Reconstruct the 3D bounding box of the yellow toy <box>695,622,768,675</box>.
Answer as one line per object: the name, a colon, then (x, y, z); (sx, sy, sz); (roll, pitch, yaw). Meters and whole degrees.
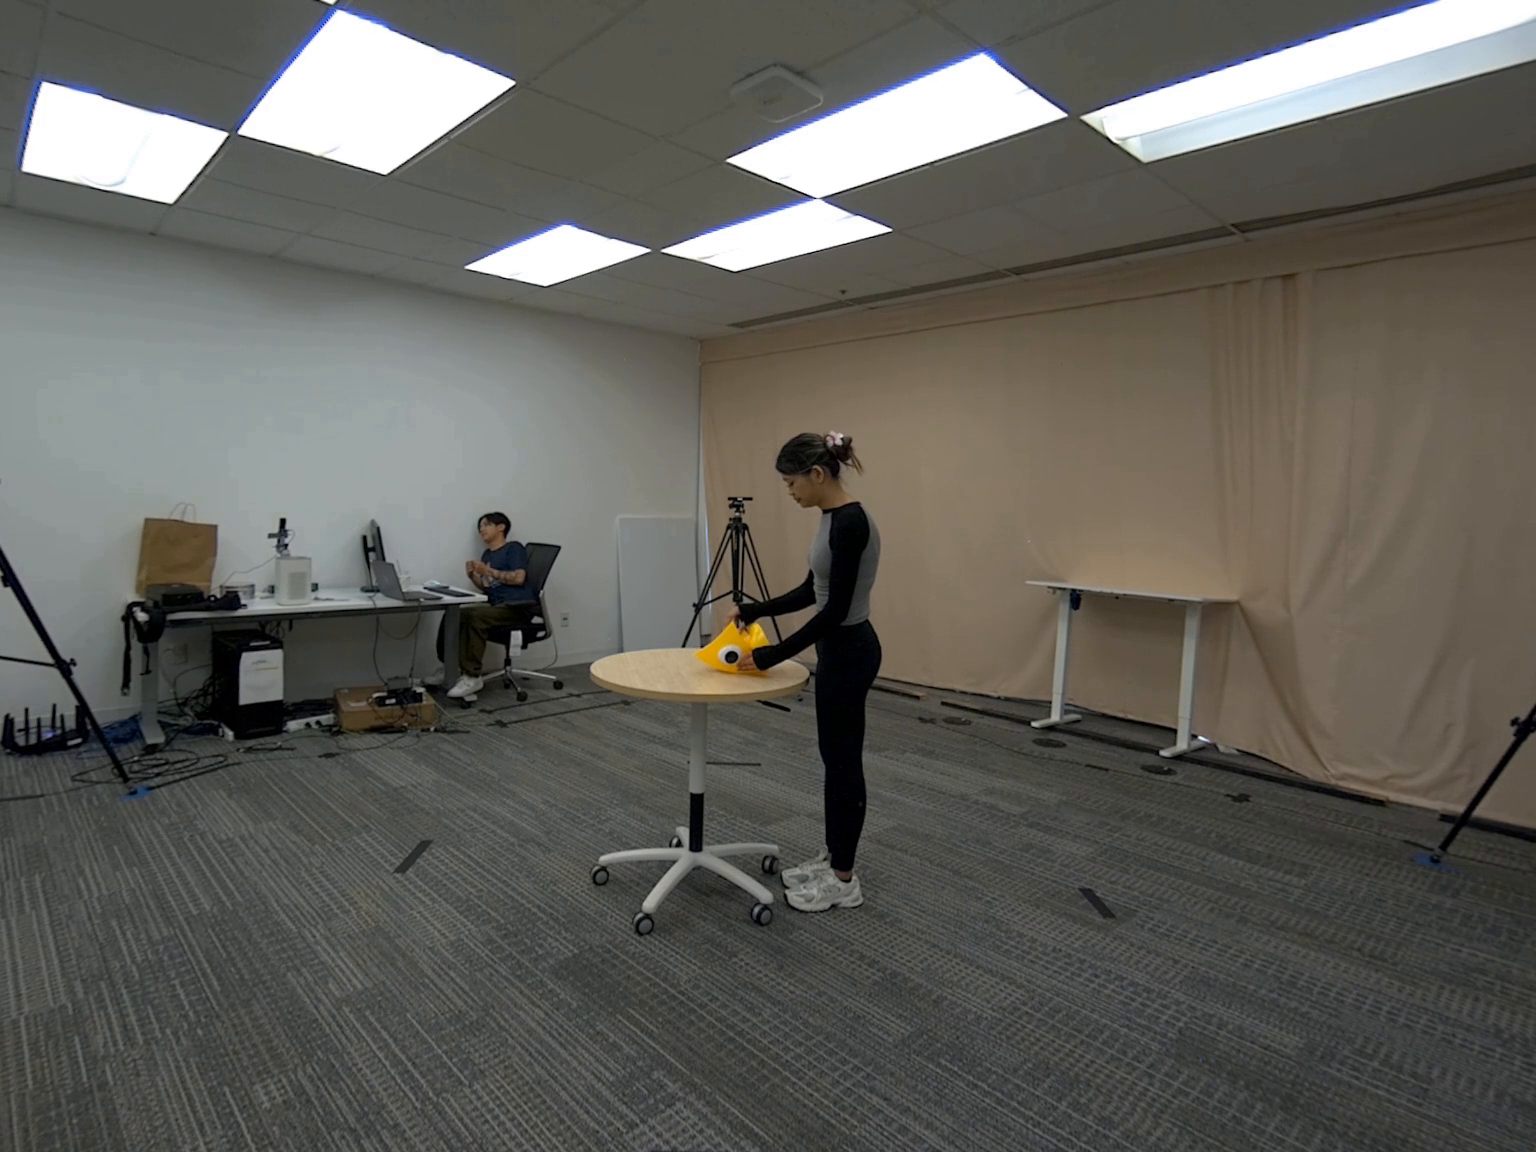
yellow toy: (-0.126, 0.276, 2.916); (0.229, 0.196, 0.203); (-24, -15, -15)
